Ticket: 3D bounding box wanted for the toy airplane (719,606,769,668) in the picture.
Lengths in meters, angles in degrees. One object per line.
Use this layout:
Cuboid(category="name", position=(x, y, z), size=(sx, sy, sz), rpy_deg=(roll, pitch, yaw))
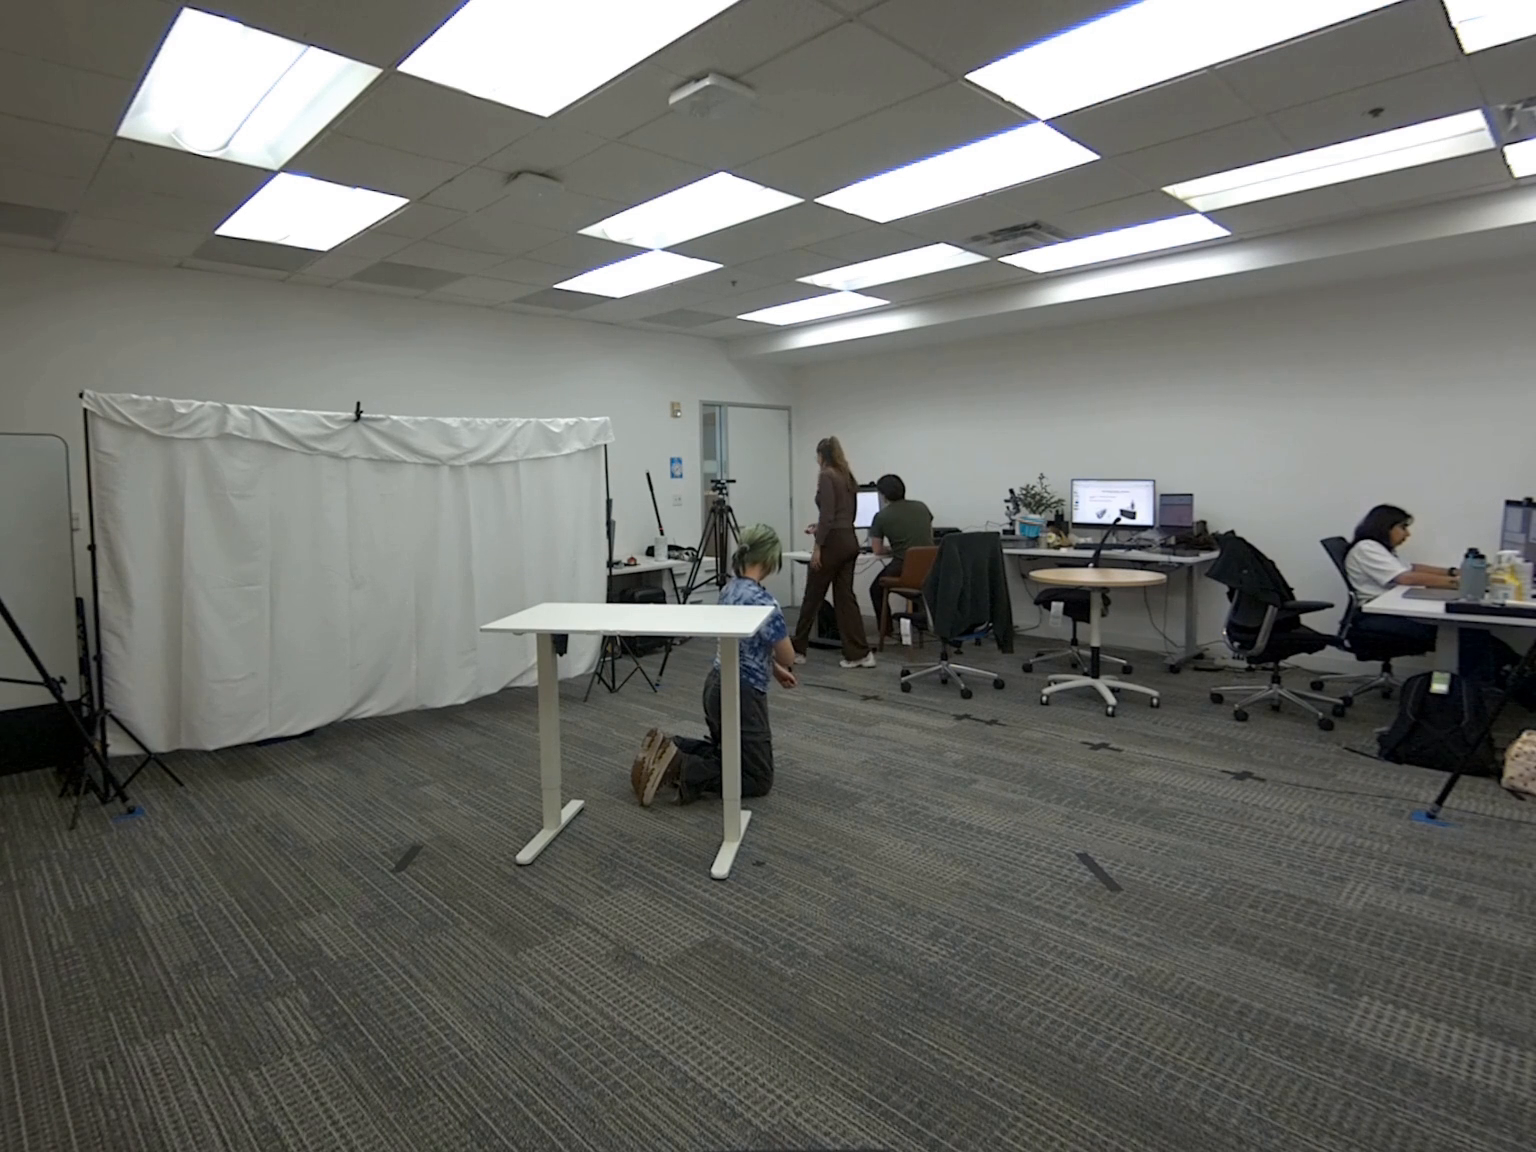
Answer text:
Cuboid(category="toy airplane", position=(-0.065, 0.275, 4.123), size=(0.258, 0.243, 0.162), rpy_deg=(-22, 35, -10))
